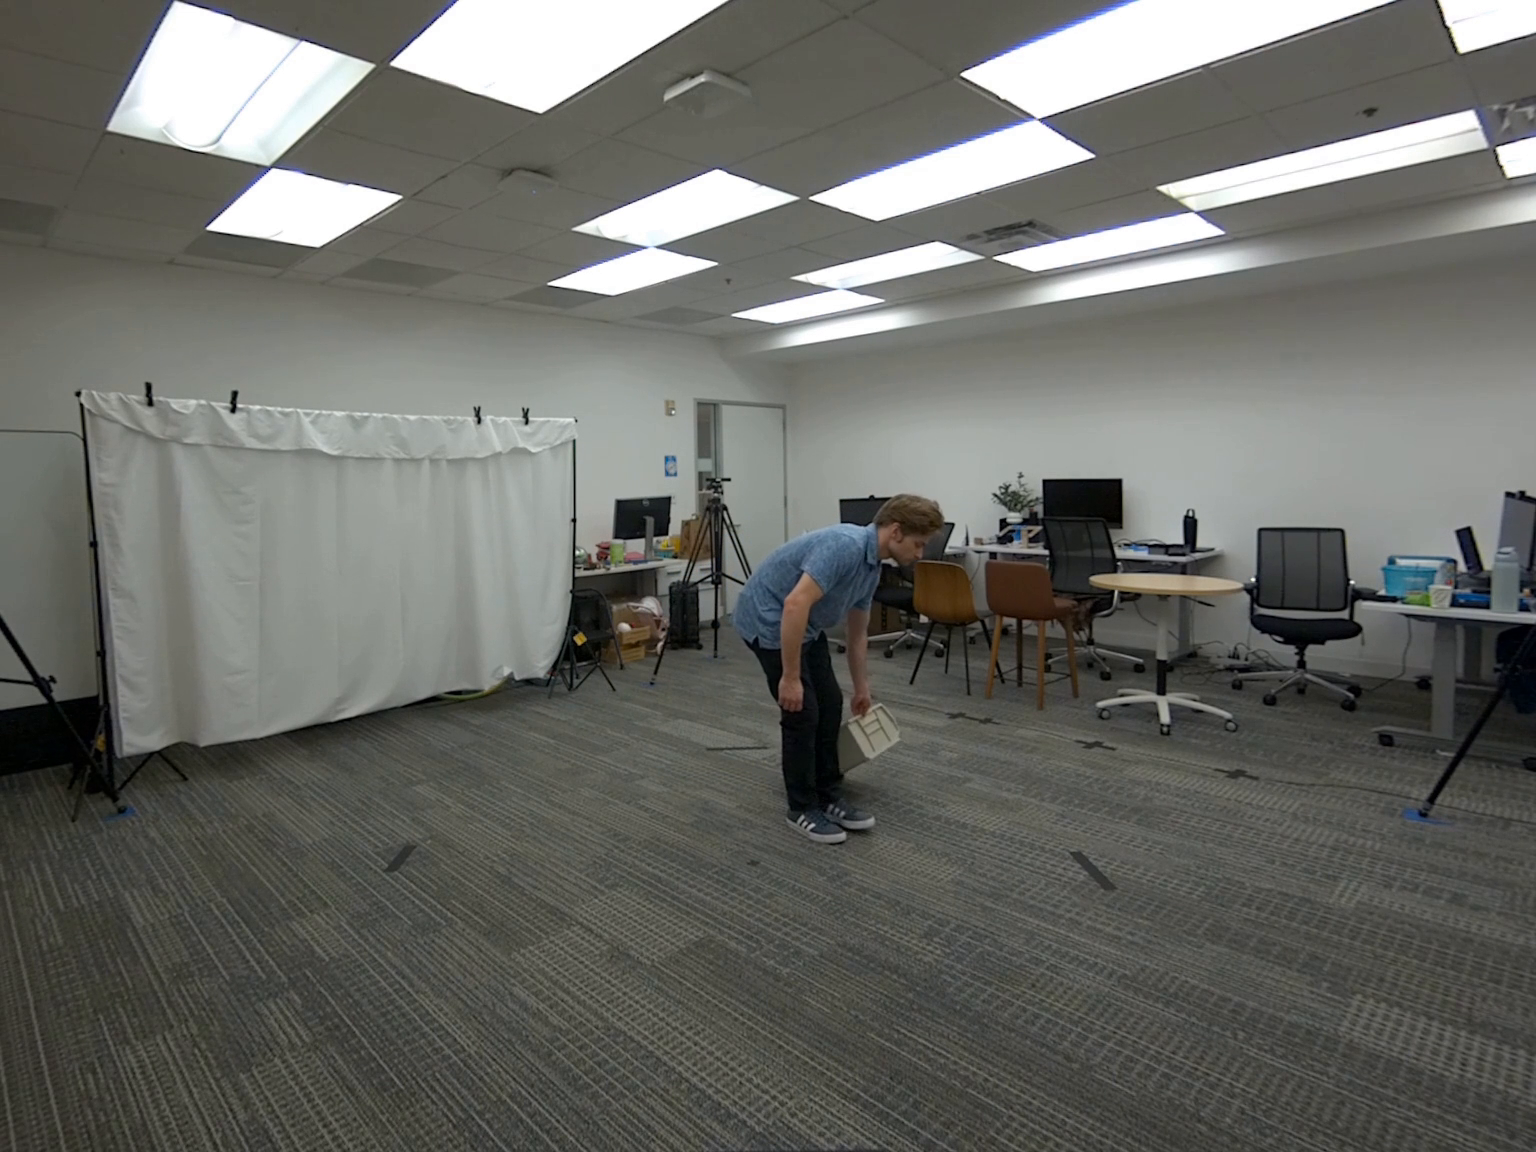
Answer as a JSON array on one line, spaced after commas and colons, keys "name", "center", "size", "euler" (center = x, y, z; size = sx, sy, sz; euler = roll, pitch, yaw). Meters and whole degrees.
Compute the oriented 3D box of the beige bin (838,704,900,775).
[{"name": "beige bin", "center": [0.328, 0.770, 3.773], "size": [0.425, 0.192, 0.369], "euler": [-36, -13, 29]}]
